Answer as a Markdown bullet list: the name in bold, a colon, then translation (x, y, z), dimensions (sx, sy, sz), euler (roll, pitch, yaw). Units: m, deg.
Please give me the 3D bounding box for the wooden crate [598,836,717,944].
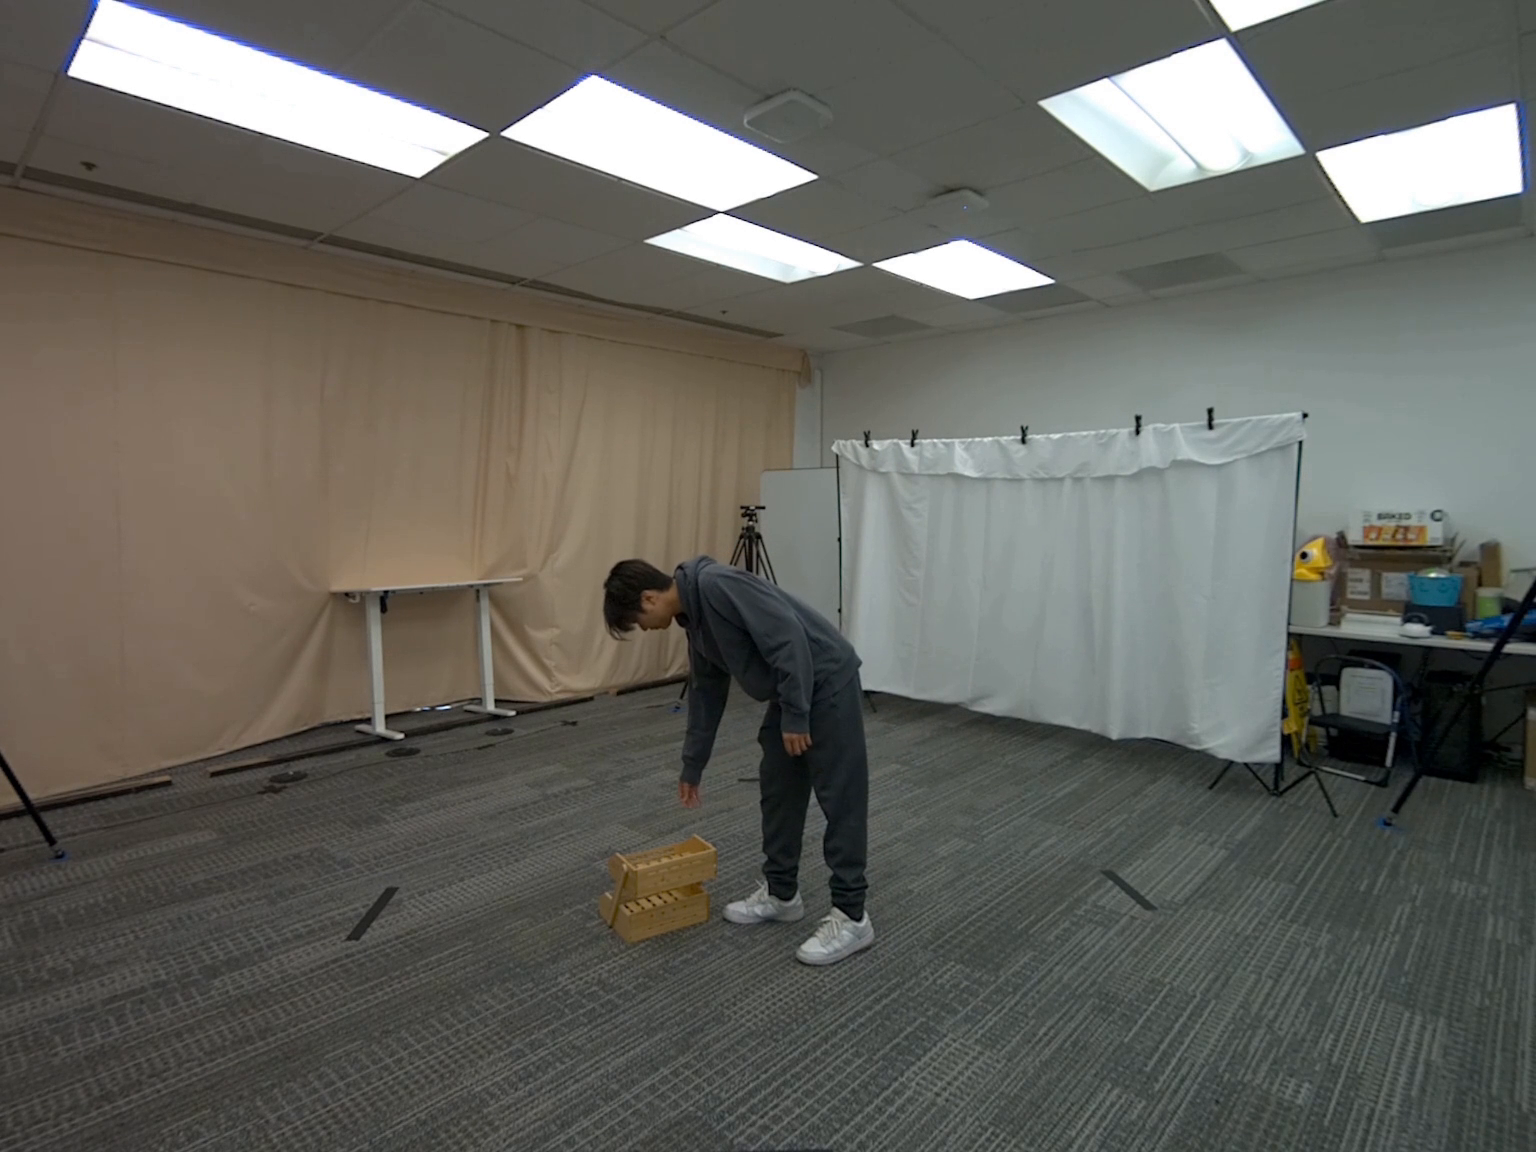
- **wooden crate**: translation (-0.375, 1.027, 2.839), dimensions (0.315, 0.272, 0.311), euler (-3, 5, -33)
